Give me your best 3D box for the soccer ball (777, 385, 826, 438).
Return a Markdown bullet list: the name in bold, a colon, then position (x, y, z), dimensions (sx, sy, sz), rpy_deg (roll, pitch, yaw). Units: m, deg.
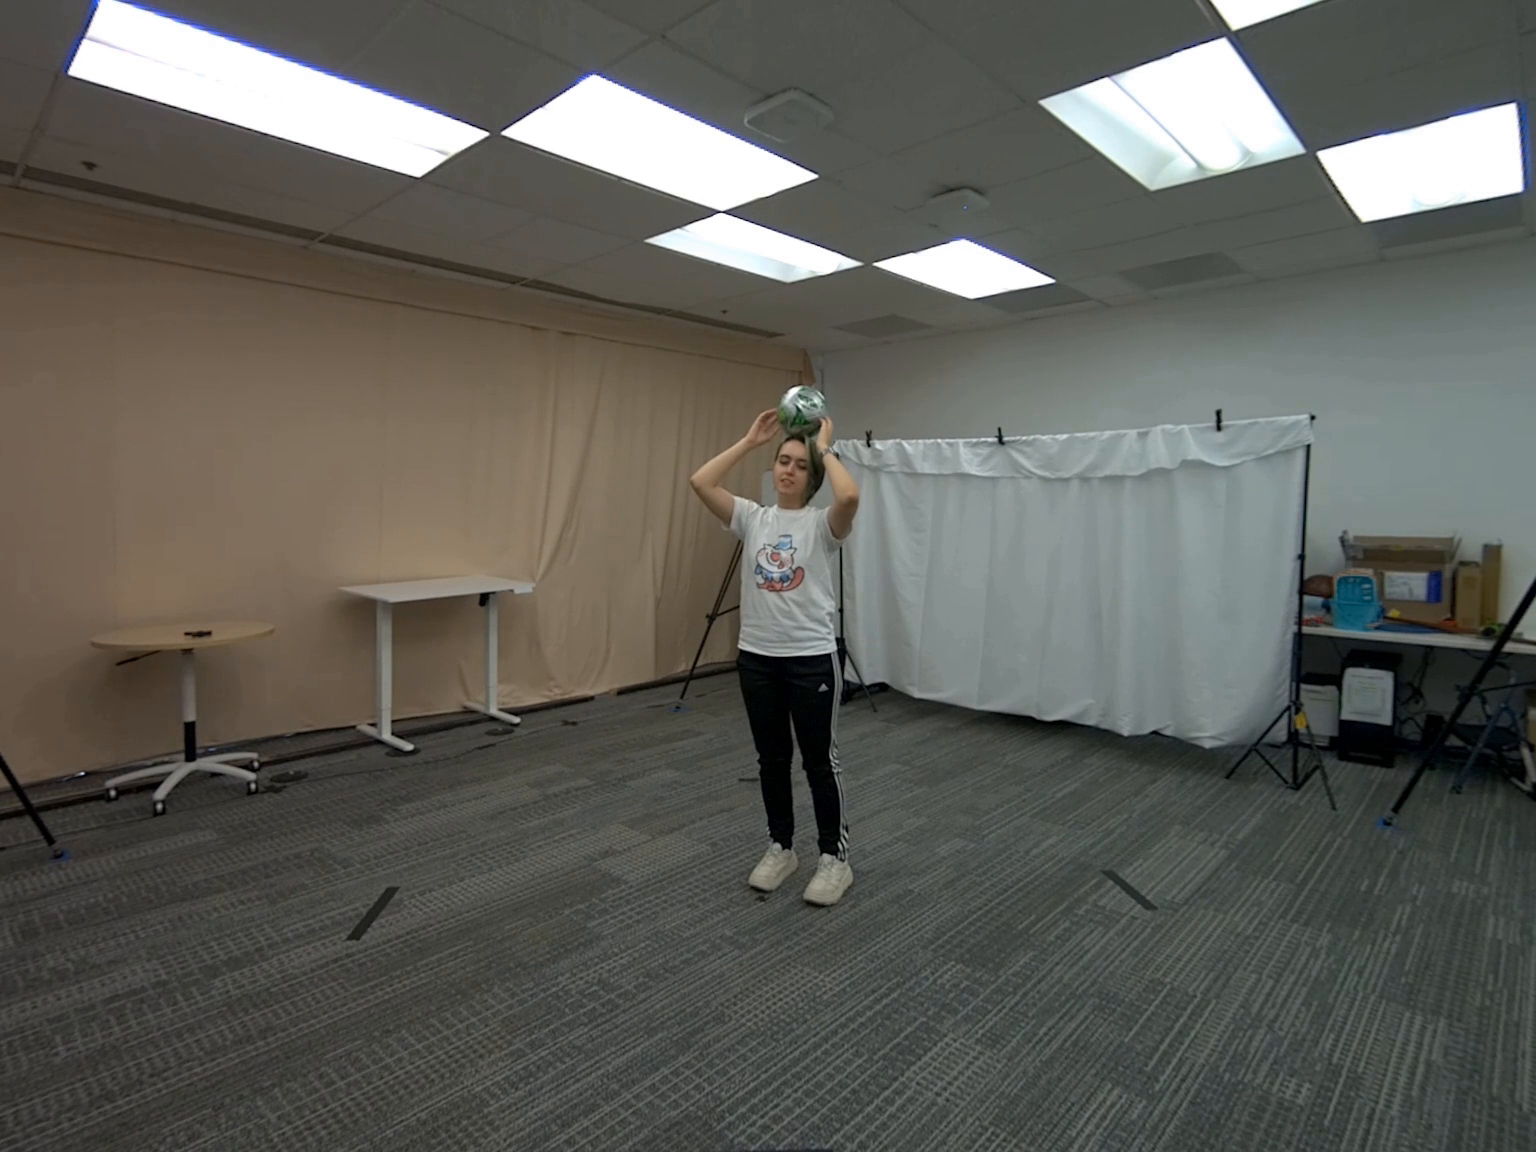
- **soccer ball**: position (0.128, -0.585, 3.016), dimensions (0.187, 0.187, 0.188), rpy_deg (0, 4, -2)
